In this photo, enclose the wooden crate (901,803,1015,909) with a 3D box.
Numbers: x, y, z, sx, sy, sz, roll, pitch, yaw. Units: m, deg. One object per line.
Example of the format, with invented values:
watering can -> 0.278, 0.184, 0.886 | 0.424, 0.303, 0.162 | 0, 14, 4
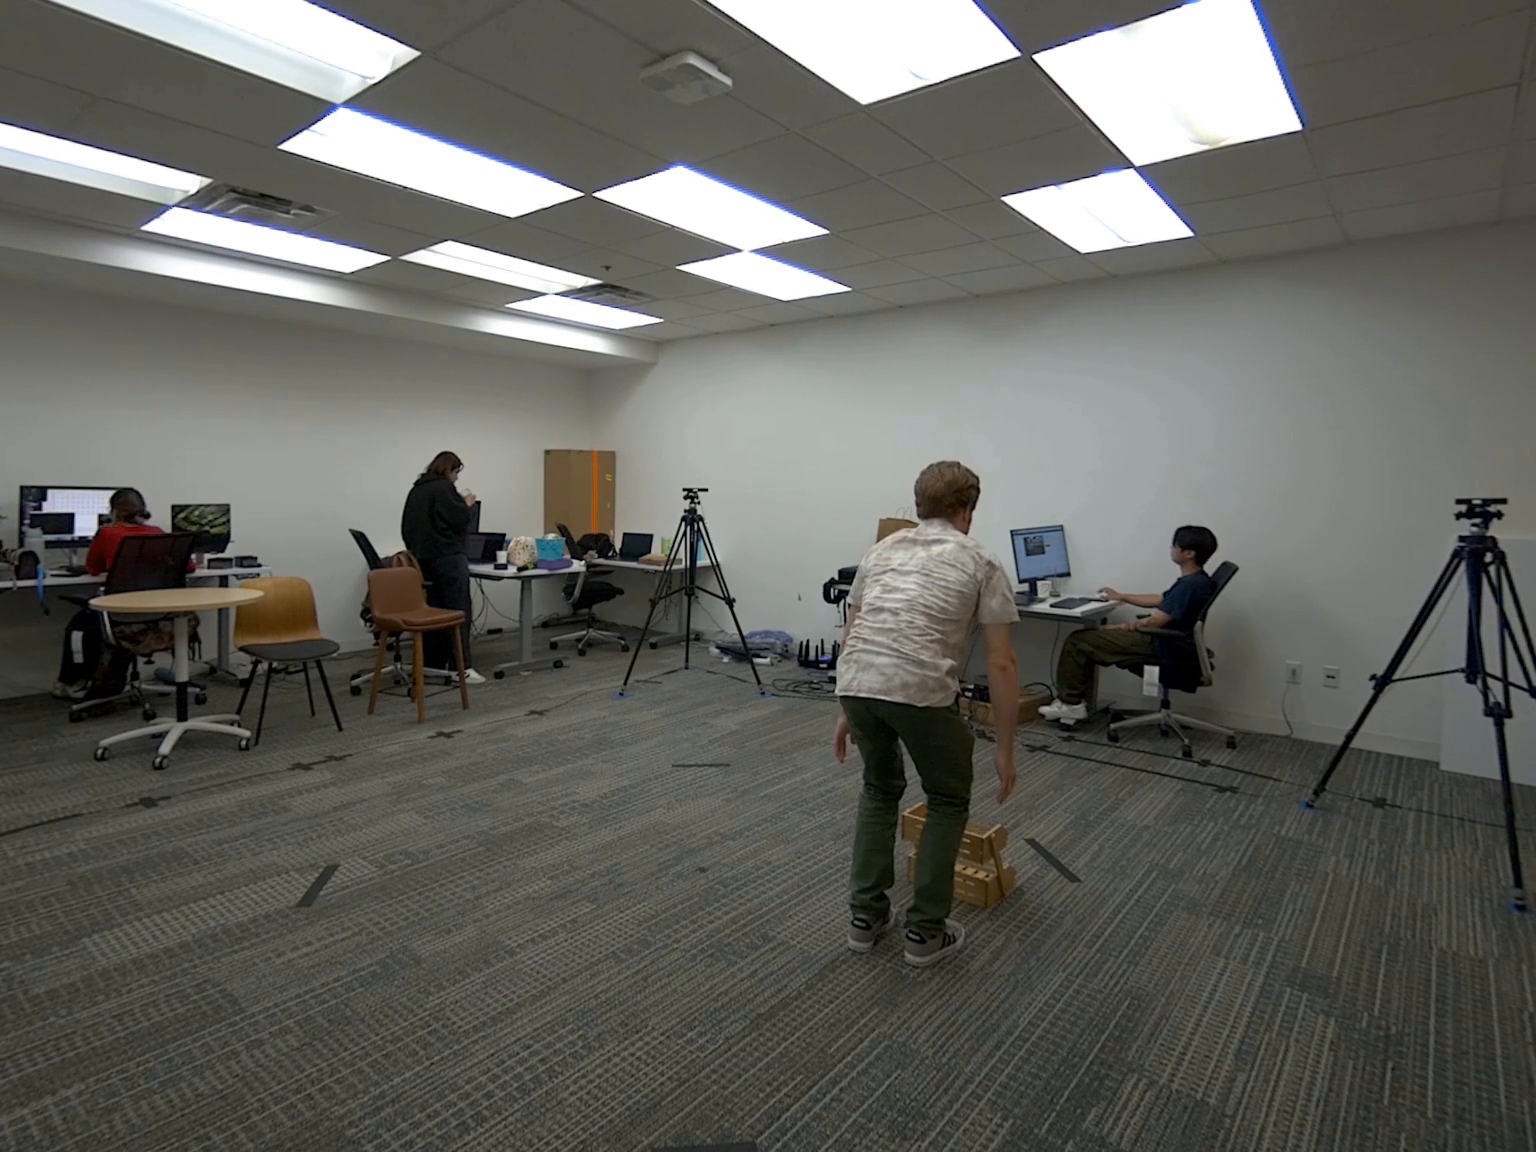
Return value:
wooden crate -> 0.678, 0.965, 3.028 | 0.335, 0.272, 0.293 | 5, 7, 38
